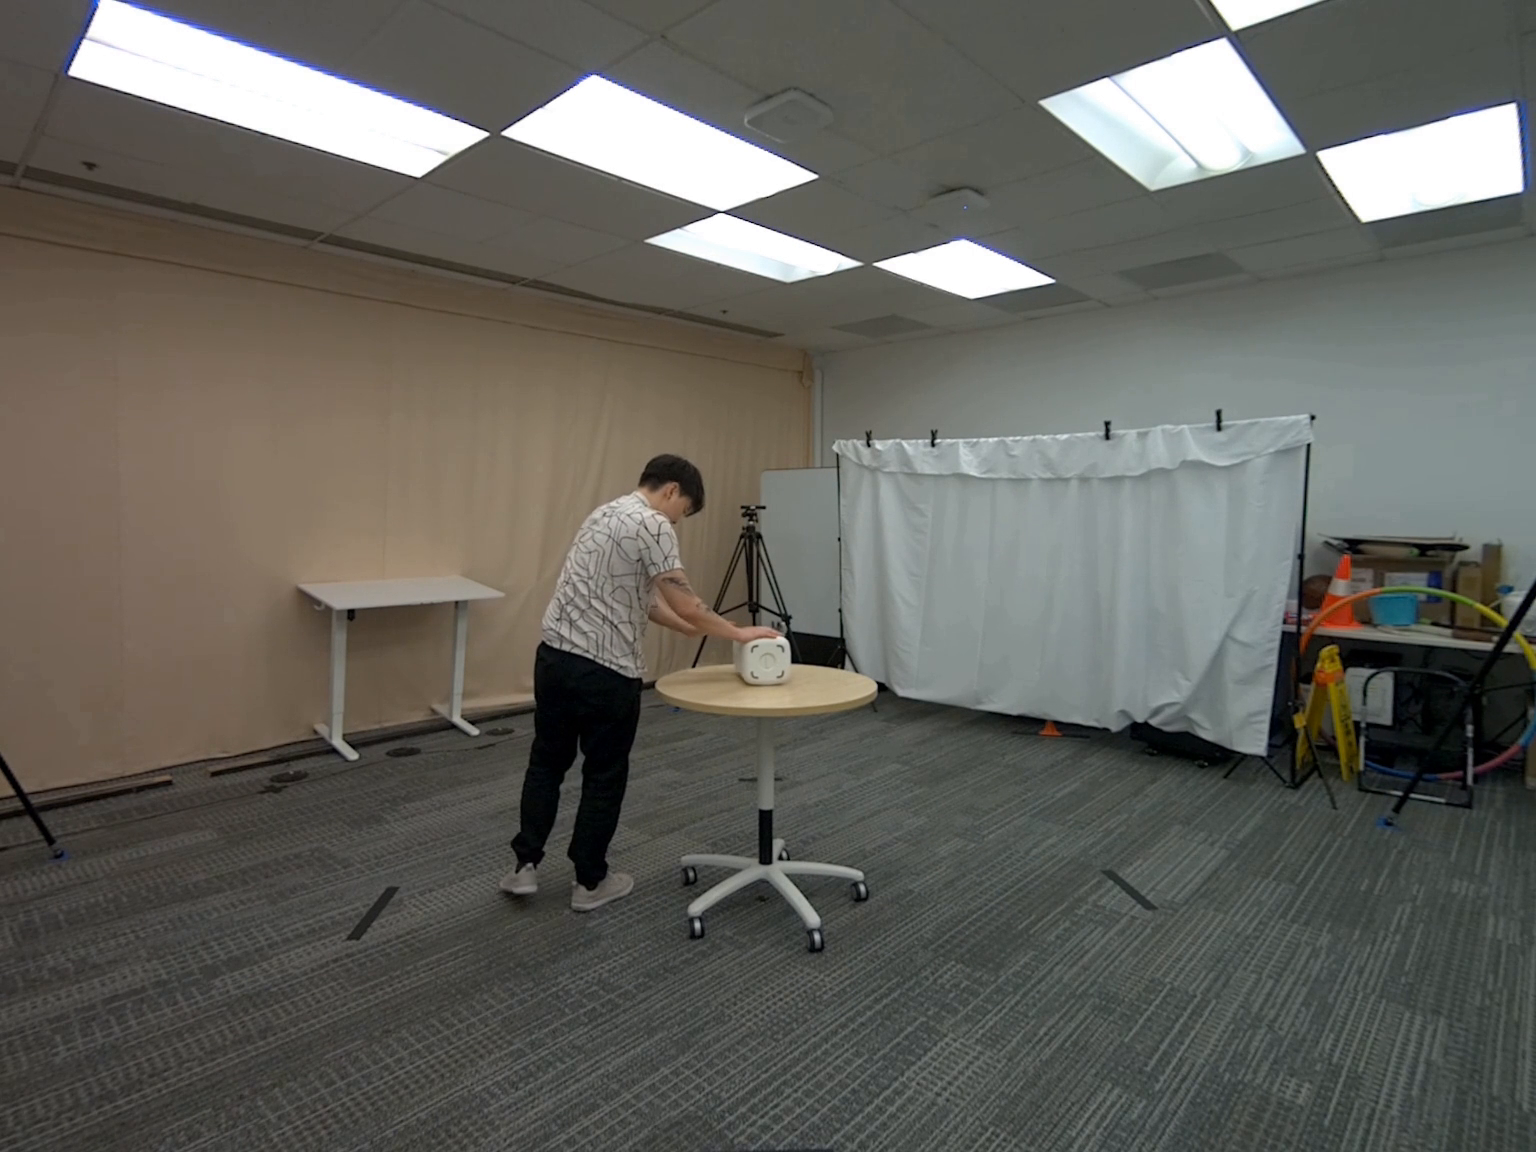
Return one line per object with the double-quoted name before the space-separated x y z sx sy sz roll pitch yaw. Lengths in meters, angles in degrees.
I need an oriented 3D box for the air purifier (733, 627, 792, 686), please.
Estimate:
"air purifier" -0.022 0.280 2.982 0.170 0.171 0.268 0 5 -9
